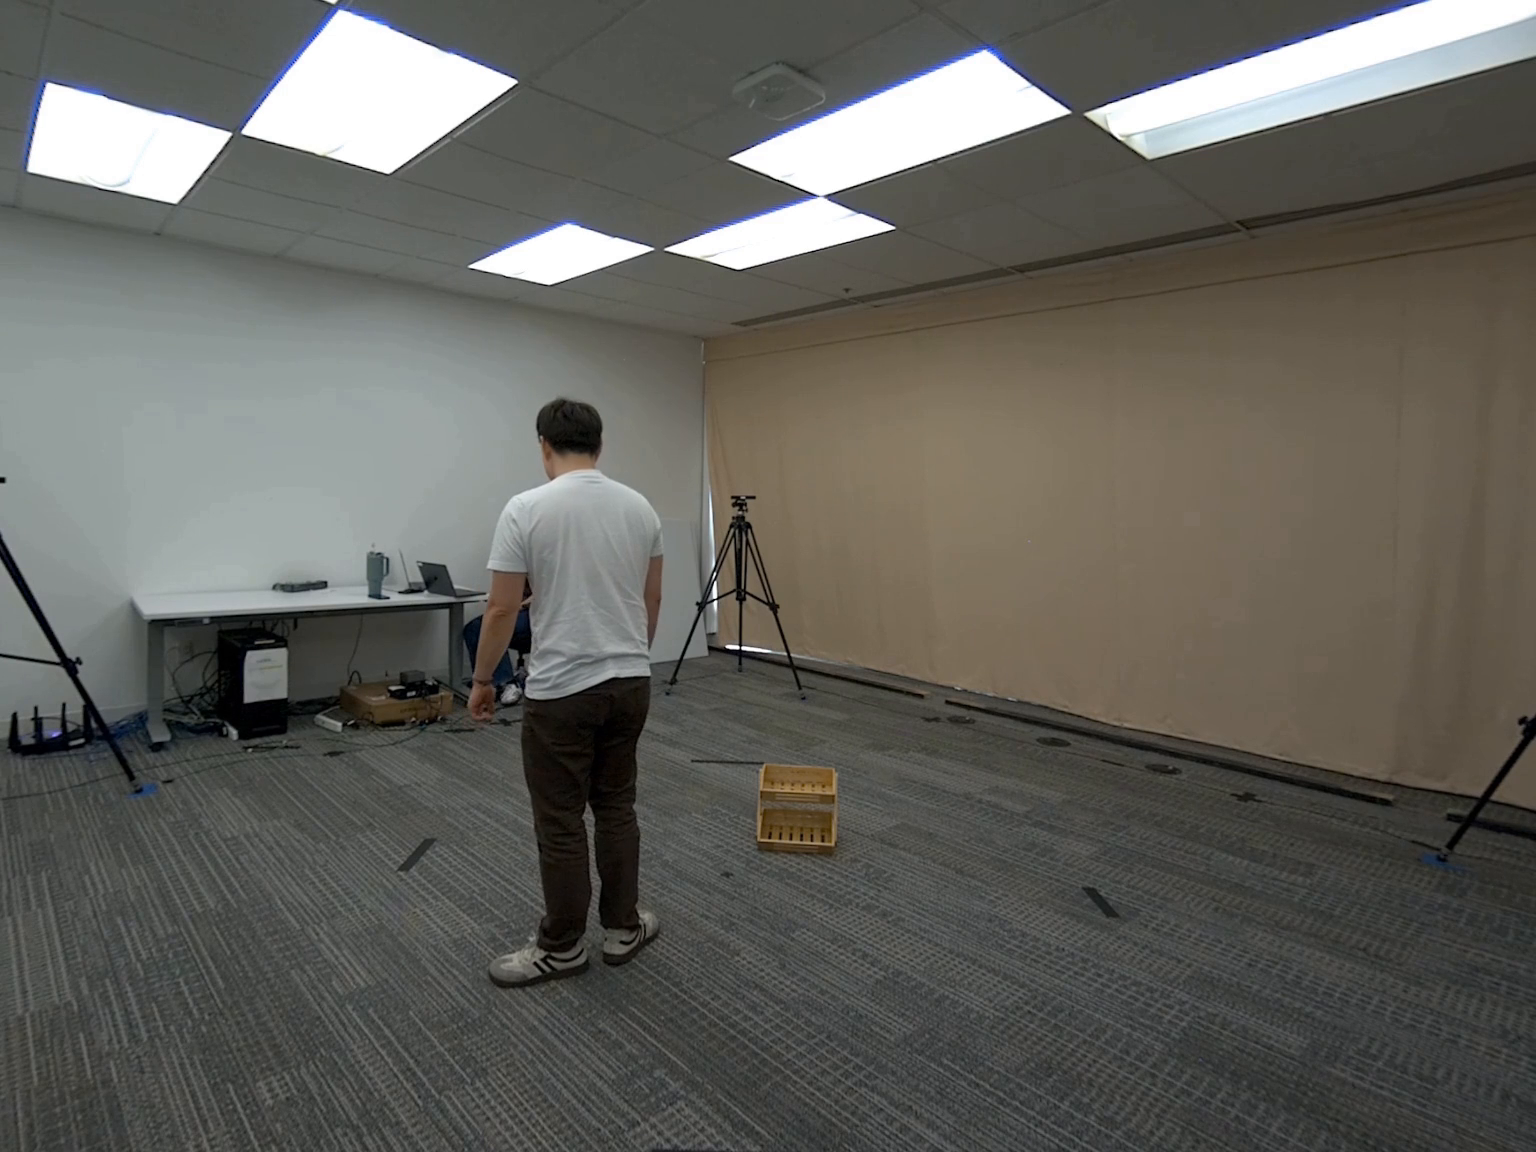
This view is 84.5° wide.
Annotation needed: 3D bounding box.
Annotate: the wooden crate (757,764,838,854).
[{"bbox_3d":[0.113,0.943,3.431,0.326,0.273,0.301,2,4,4],"label":"wooden crate"}]
